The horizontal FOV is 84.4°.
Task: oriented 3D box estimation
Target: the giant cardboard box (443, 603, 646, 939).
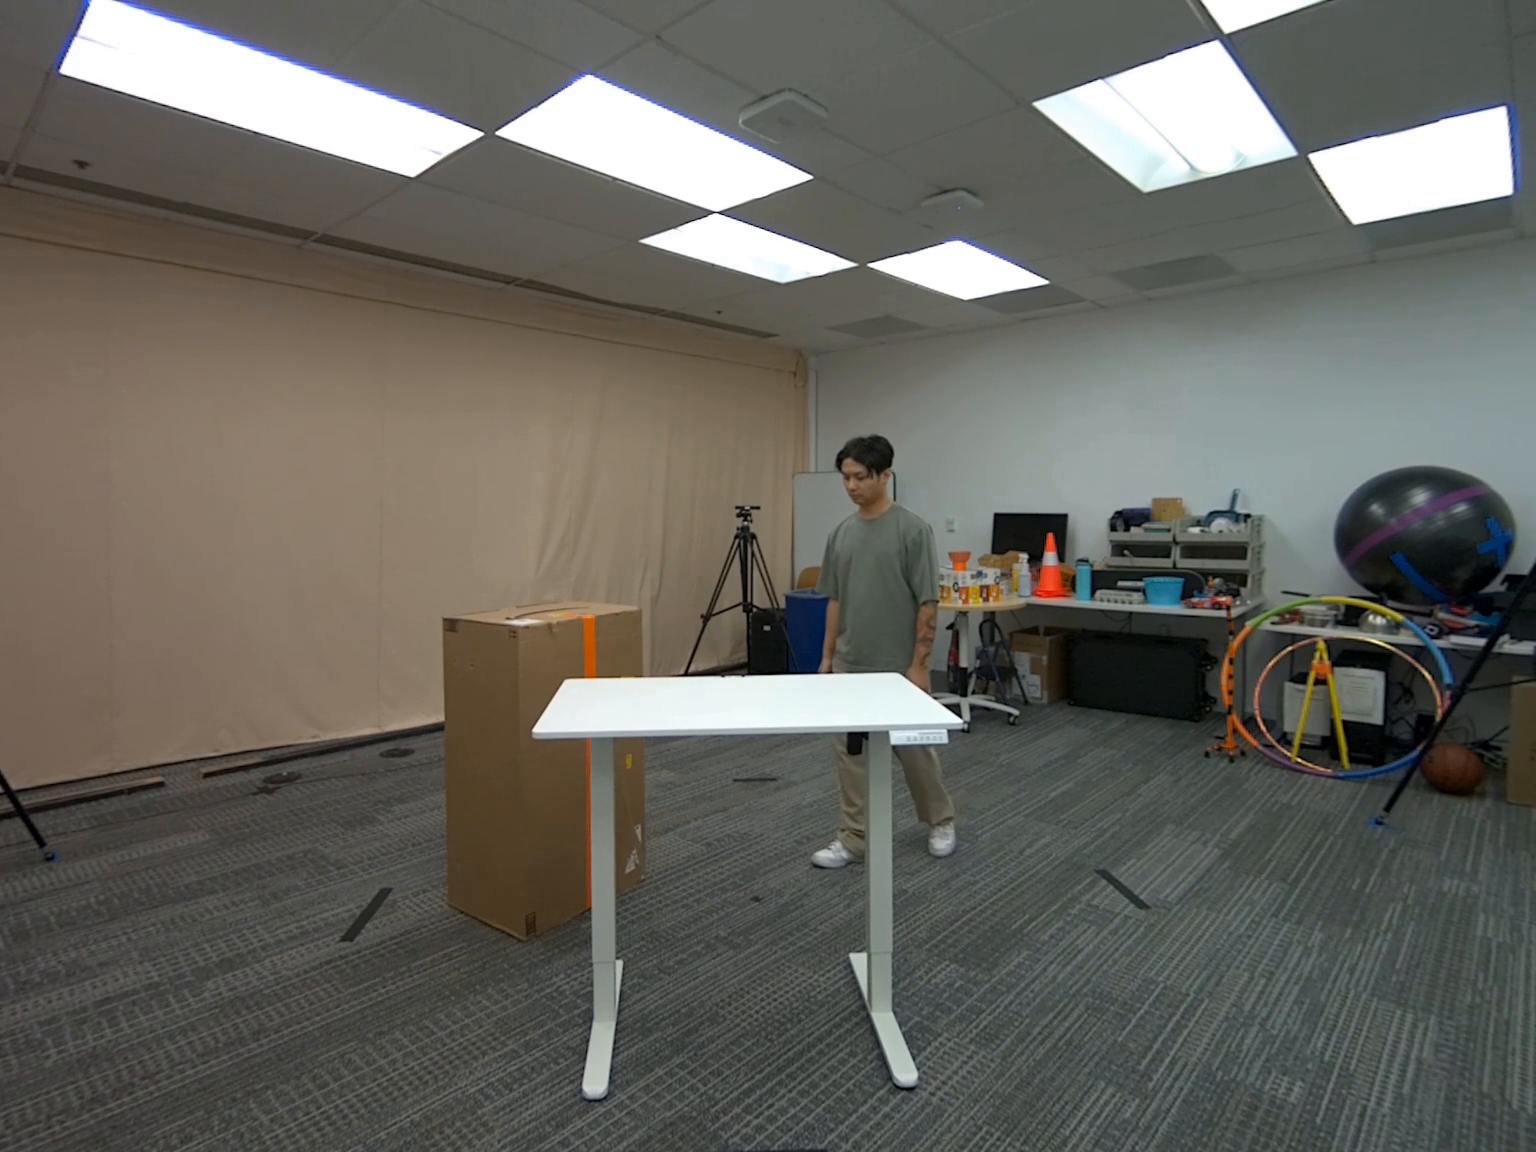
[{"bbox_3d":[-0.792,0.637,3.023,0.440,1.024,0.560,2,3,36],"label":"giant cardboard box"}]
